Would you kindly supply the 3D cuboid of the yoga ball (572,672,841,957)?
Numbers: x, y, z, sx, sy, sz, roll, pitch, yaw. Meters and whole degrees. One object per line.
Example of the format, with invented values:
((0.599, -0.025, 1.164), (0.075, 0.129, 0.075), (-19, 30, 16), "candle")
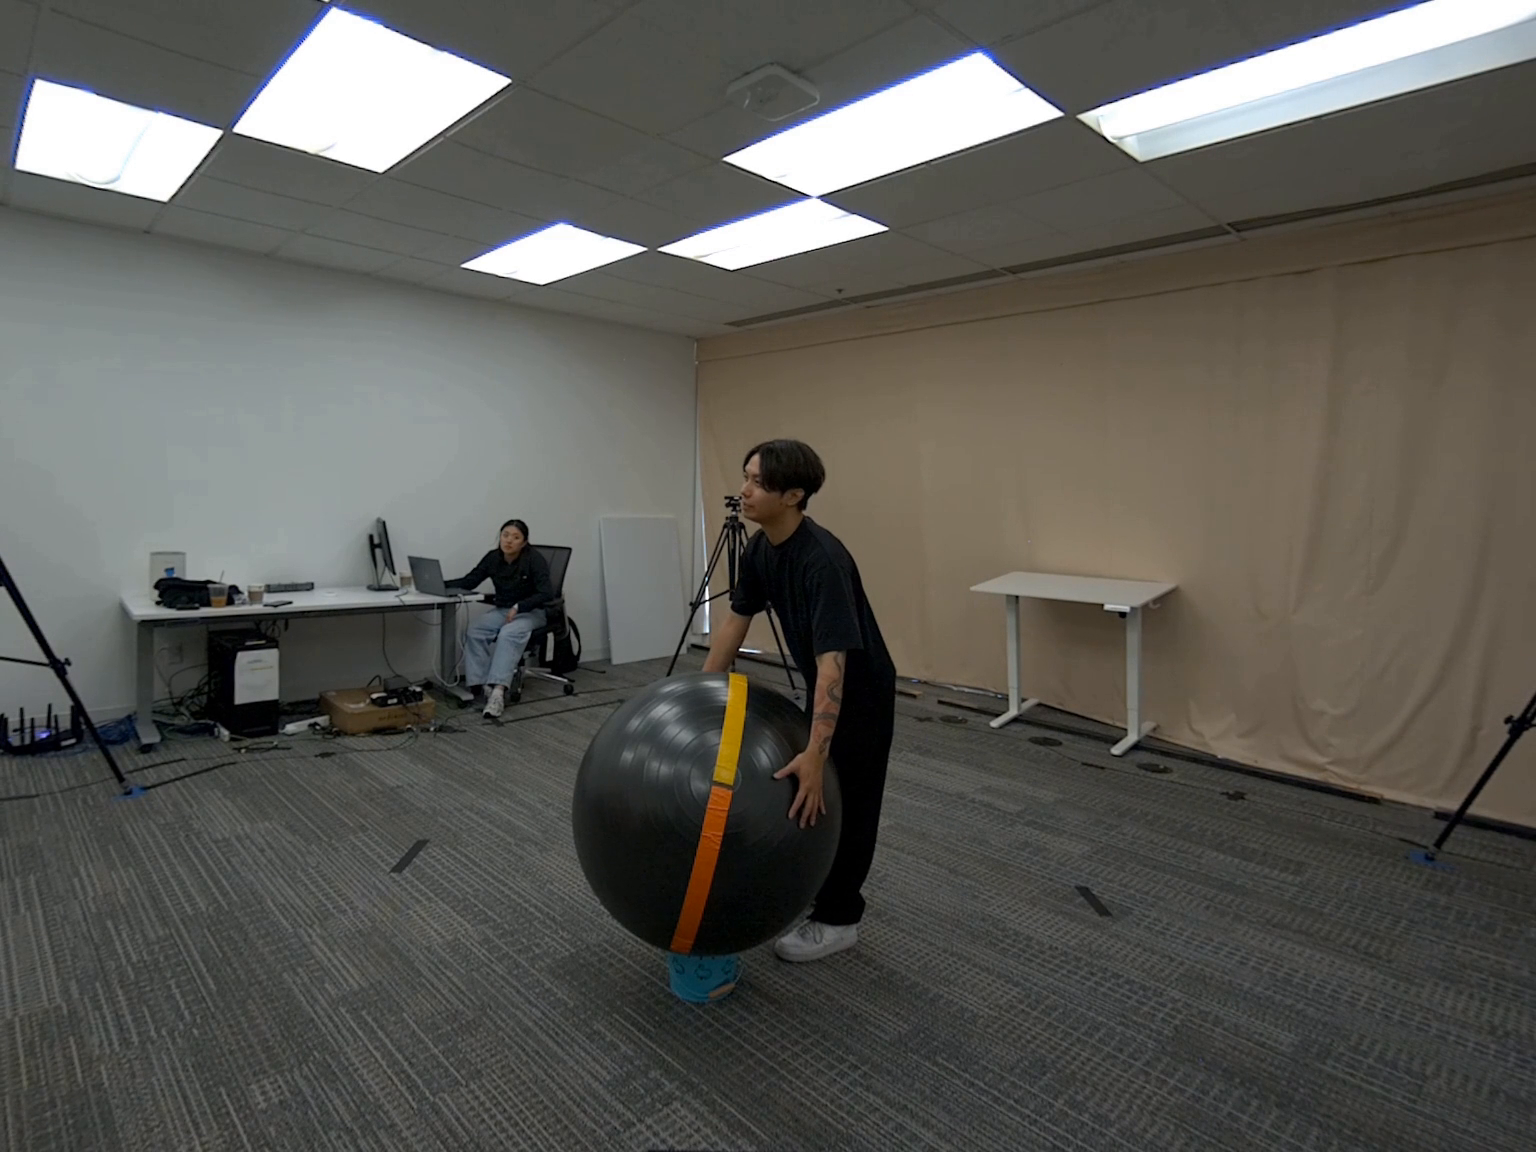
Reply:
((-0.178, 0.662, 2.377), (0.757, 0.756, 0.761), (1, 4, -1), "yoga ball")
